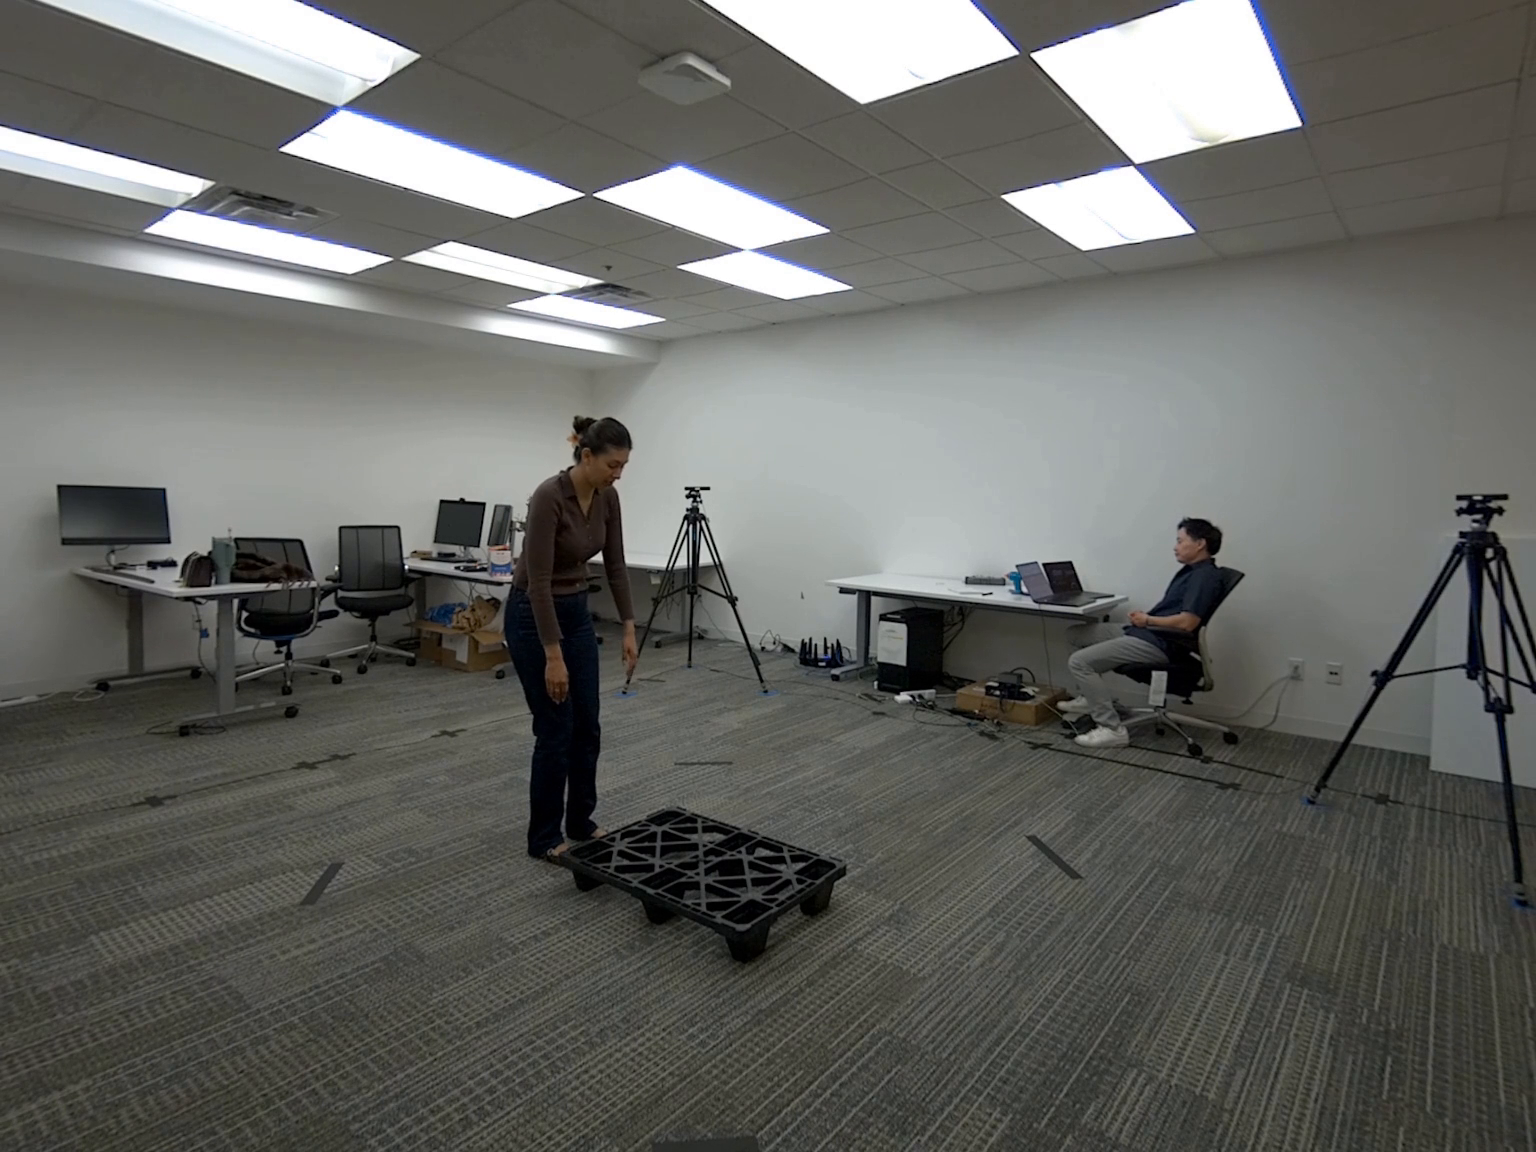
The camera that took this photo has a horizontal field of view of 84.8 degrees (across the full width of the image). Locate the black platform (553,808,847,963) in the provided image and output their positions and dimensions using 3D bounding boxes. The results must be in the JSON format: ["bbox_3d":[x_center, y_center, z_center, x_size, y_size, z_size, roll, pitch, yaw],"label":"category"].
[{"bbox_3d":[-0.238,1.020,2.893,0.832,0.143,0.587,5,6,37],"label":"black platform"}]
